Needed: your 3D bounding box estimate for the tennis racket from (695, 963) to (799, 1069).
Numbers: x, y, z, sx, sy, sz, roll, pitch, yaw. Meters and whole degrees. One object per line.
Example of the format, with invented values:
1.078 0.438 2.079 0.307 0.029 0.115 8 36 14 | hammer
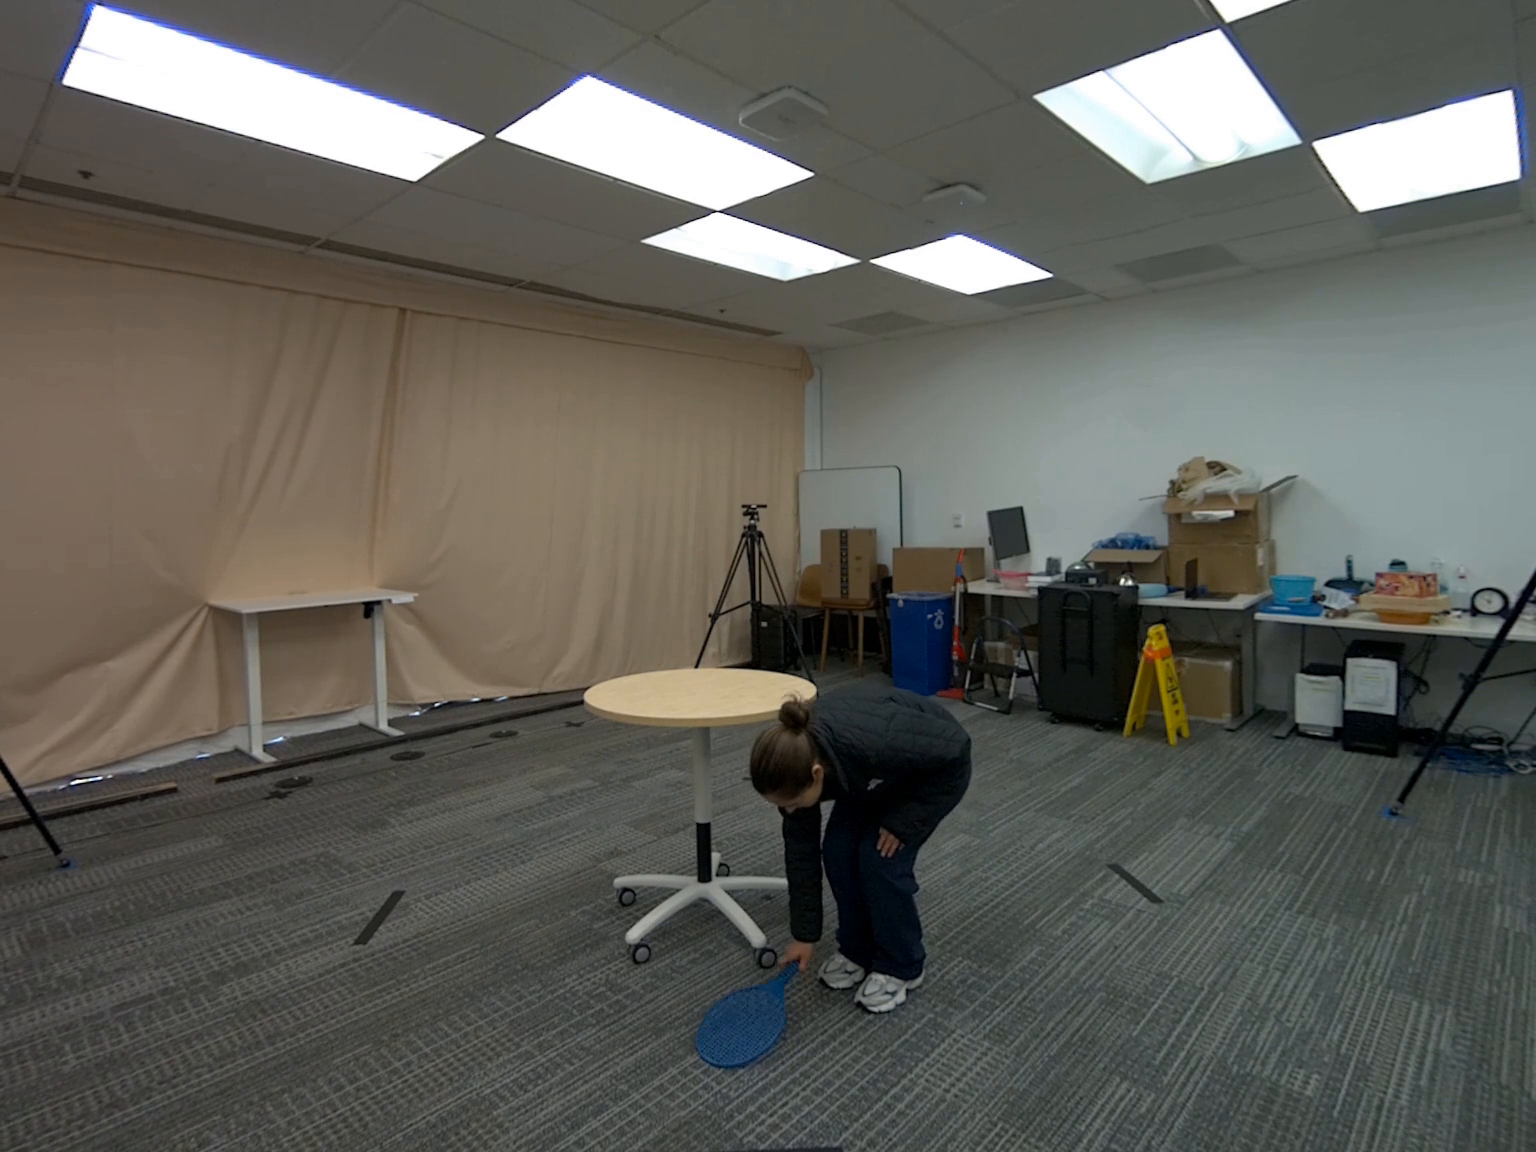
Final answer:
0.007 1.137 2.247 0.423 0.031 0.221 -23 19 -40 | tennis racket
